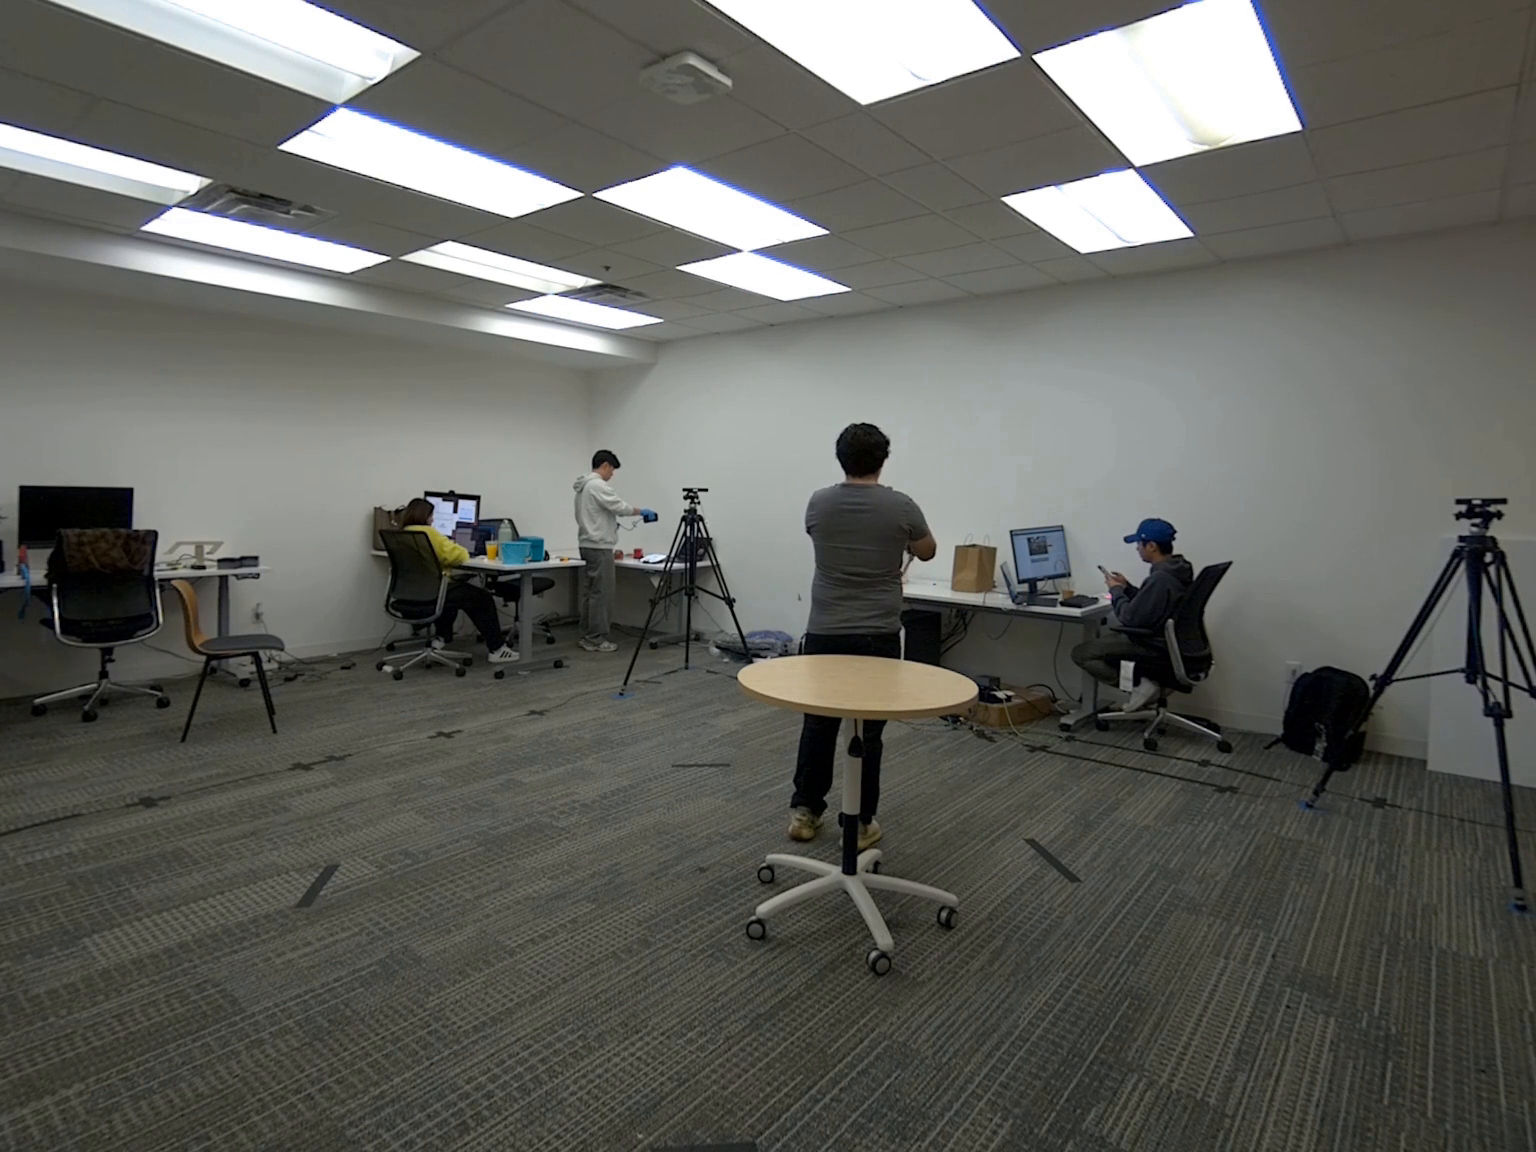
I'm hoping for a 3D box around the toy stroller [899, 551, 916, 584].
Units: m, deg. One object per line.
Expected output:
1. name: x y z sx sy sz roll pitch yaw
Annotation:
1. toy stroller: 0.429 0.104 3.816 0.283 0.539 0.337 25 -20 3
